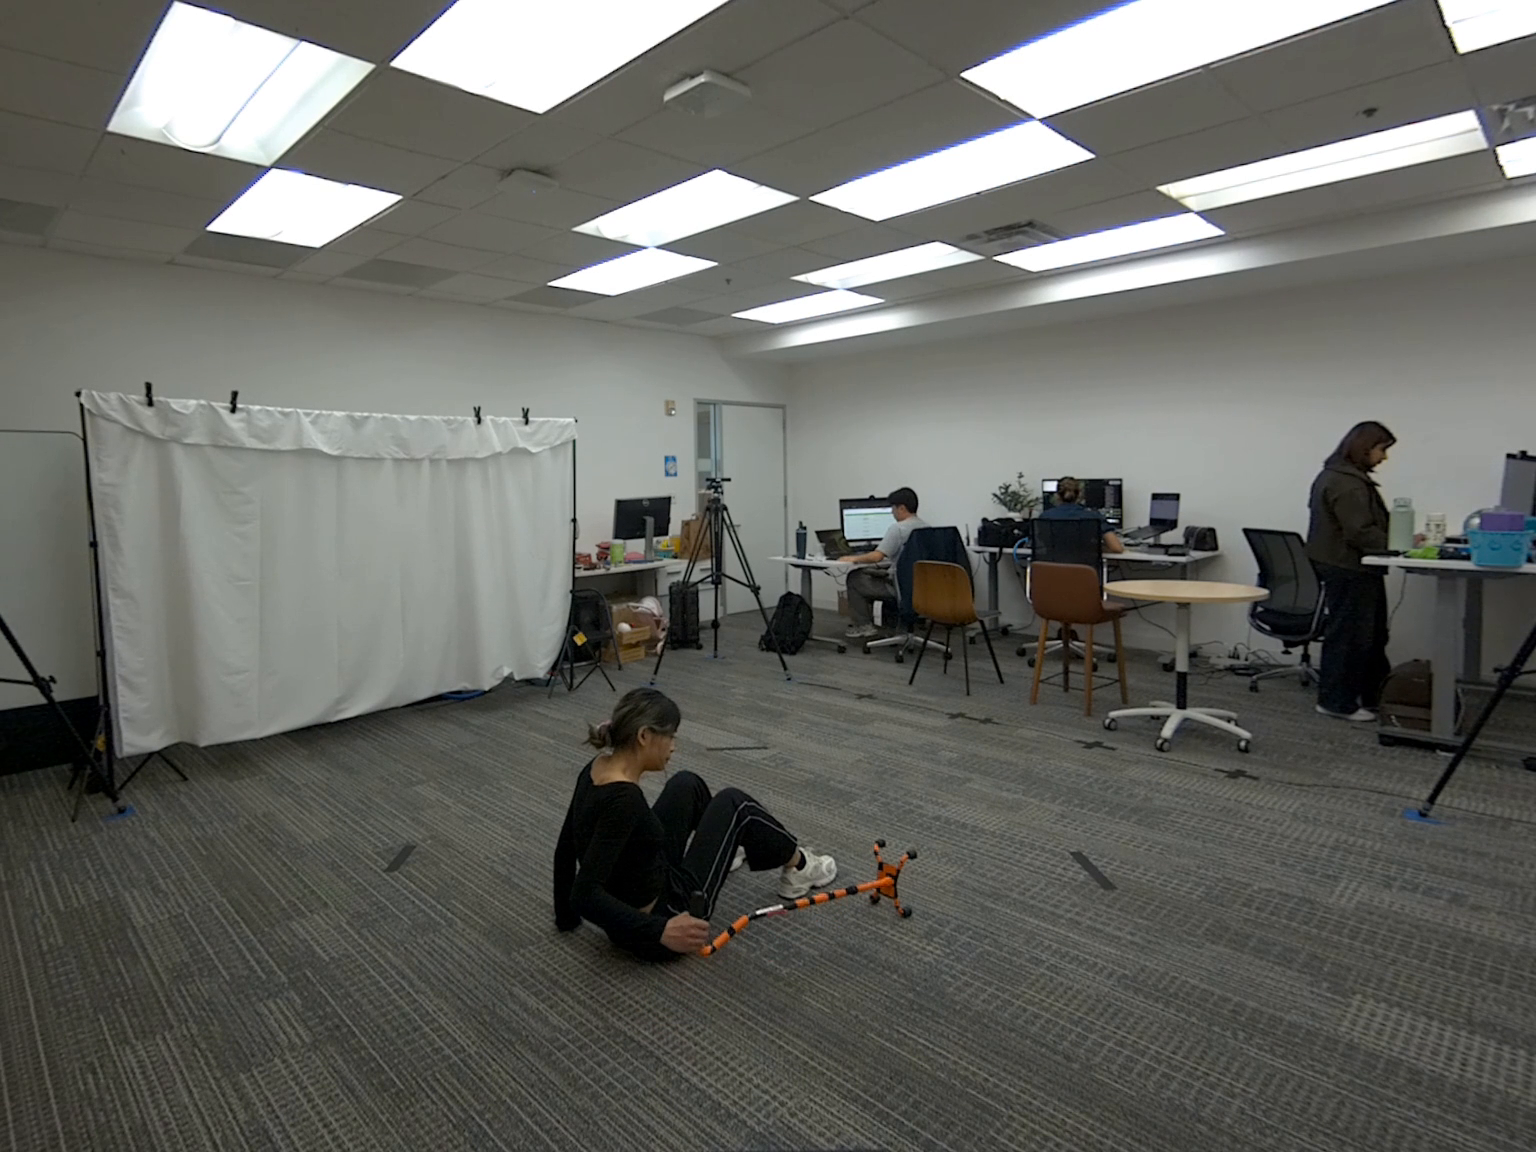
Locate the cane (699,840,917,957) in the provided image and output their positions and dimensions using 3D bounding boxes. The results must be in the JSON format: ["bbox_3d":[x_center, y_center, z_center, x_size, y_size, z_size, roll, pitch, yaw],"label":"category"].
[{"bbox_3d":[0.107,0.923,2.457,0.879,0.207,0.156,7,-2,-45],"label":"cane"}]
